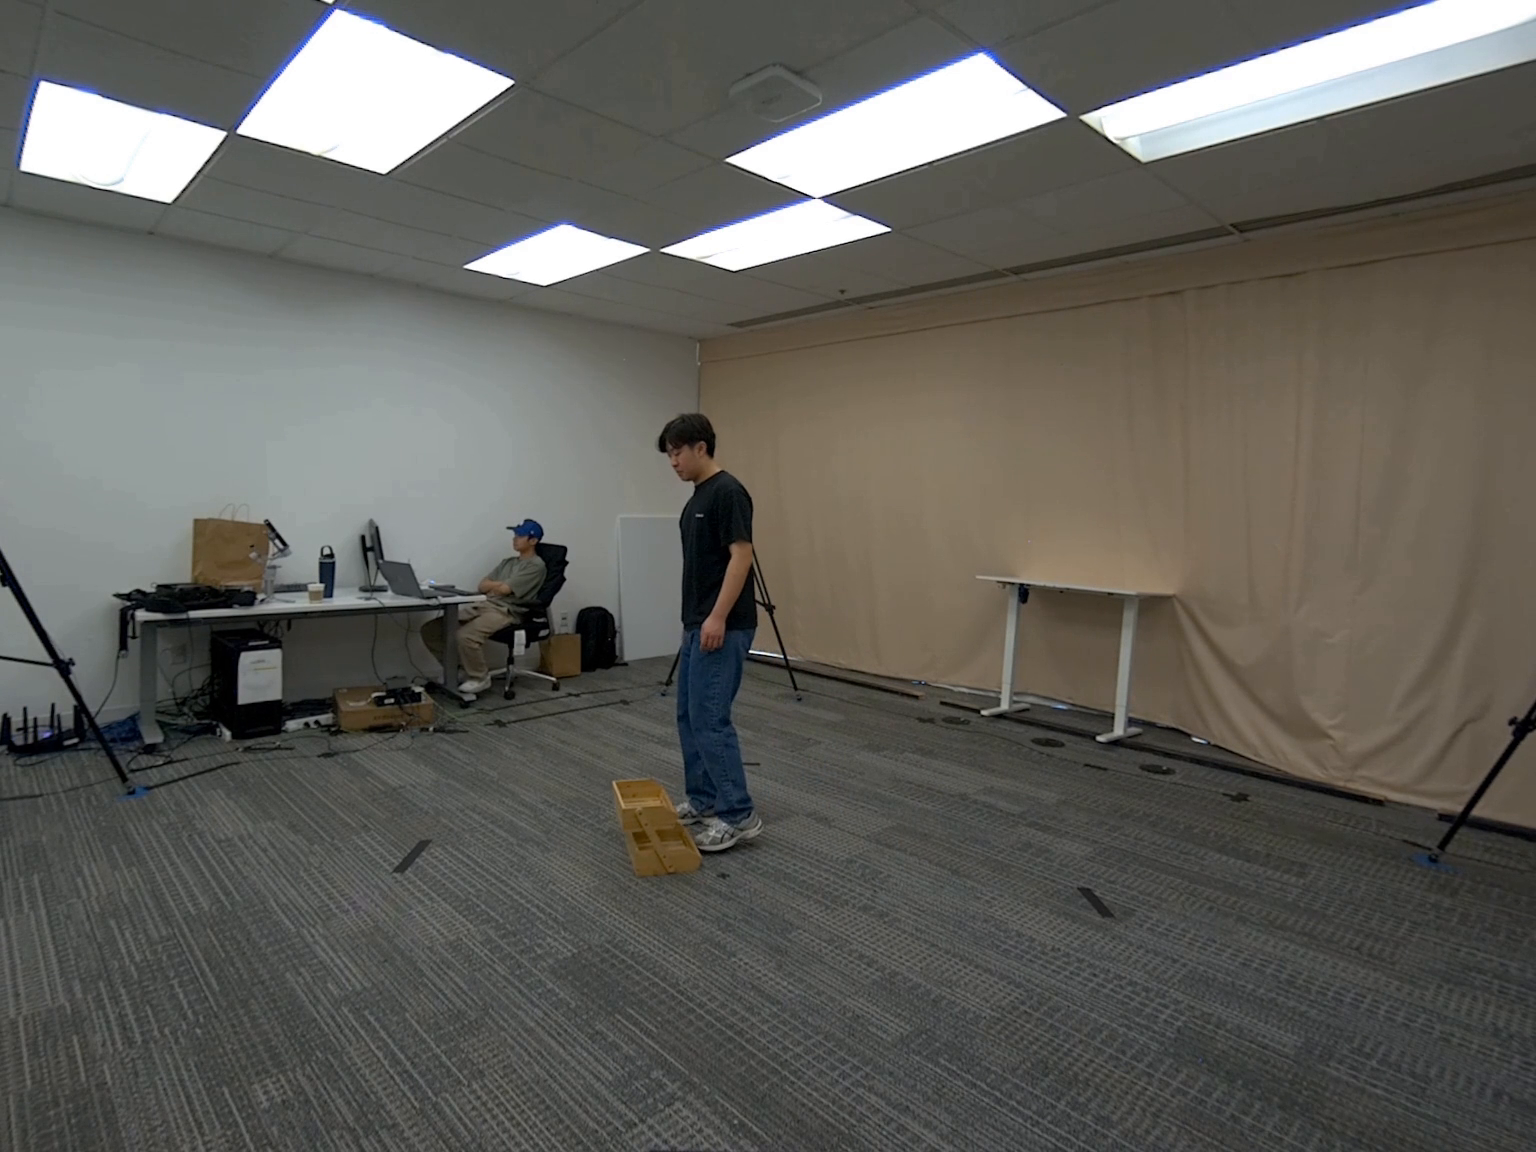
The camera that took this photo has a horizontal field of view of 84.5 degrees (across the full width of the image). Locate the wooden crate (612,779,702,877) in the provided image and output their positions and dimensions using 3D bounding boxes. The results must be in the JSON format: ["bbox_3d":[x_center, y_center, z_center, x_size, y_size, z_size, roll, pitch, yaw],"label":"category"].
[{"bbox_3d":[-0.438,0.956,3.241,0.298,0.272,0.330,0,5,-18],"label":"wooden crate"}]
